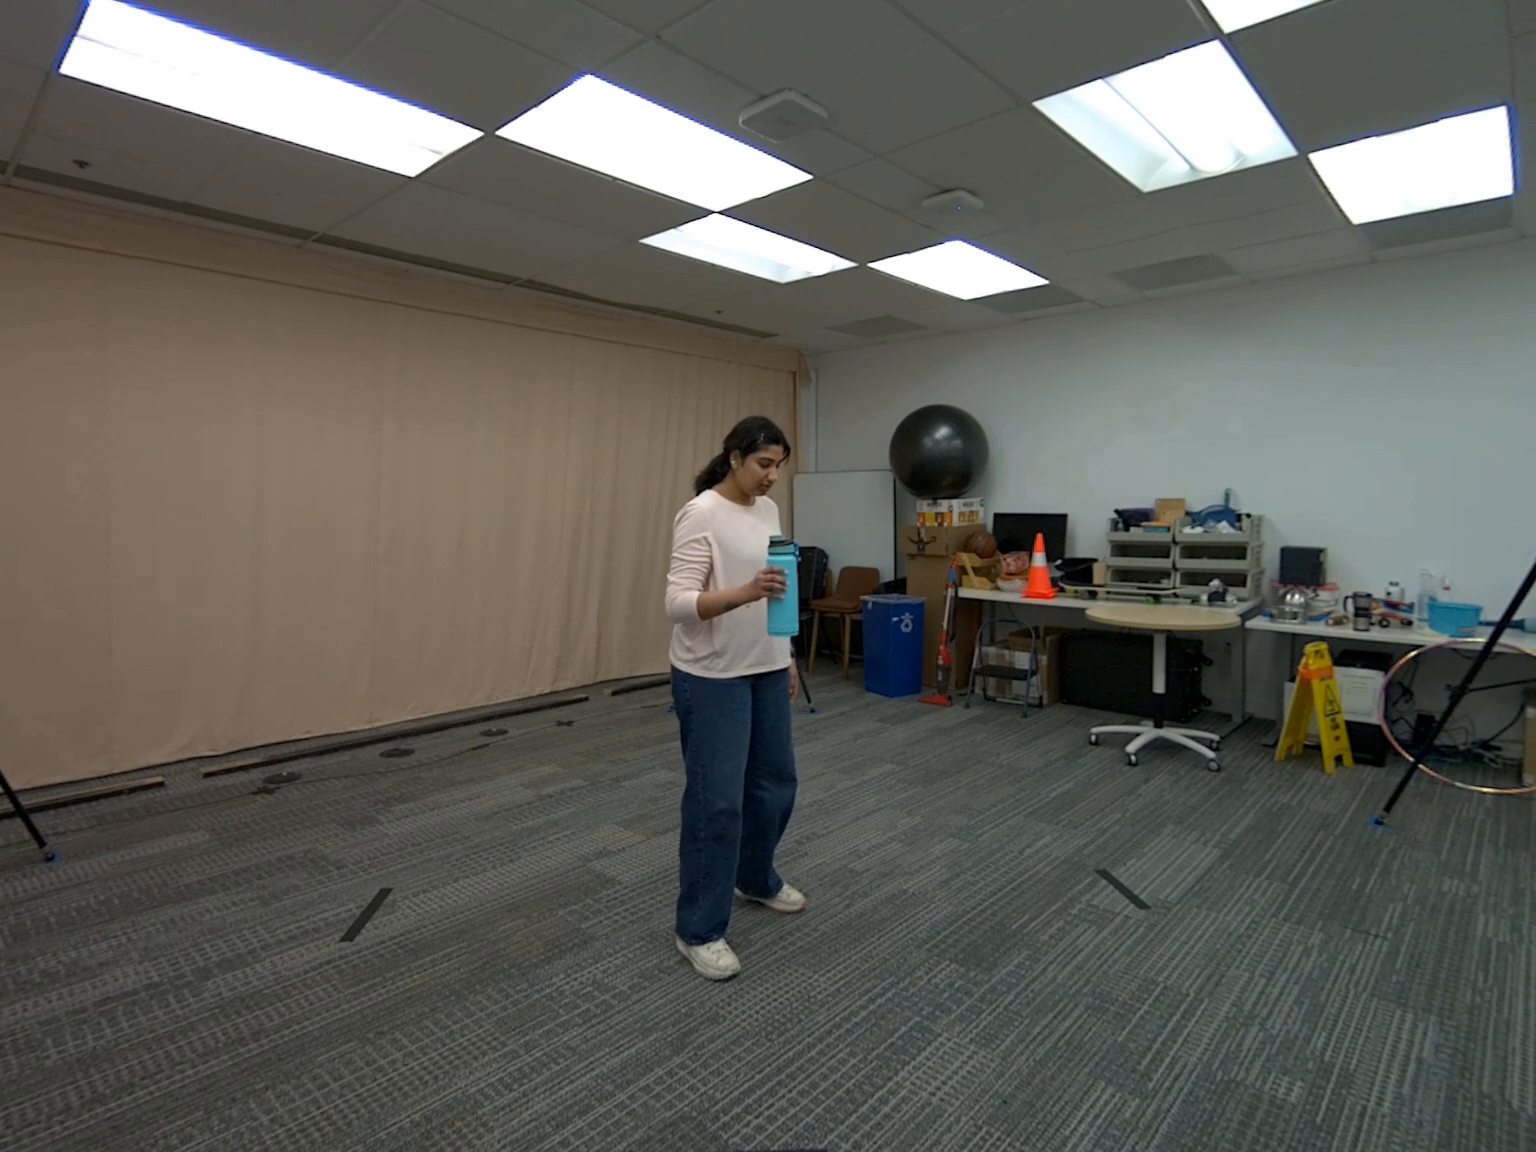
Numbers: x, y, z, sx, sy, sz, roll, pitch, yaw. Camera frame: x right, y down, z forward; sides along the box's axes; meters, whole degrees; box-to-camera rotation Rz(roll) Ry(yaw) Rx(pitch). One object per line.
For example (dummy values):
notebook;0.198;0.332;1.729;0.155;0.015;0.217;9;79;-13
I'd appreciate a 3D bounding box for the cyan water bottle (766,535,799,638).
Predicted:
cyan water bottle;0.048;0.026;2.393;0.092;0.283;0.092;2;3;-2
